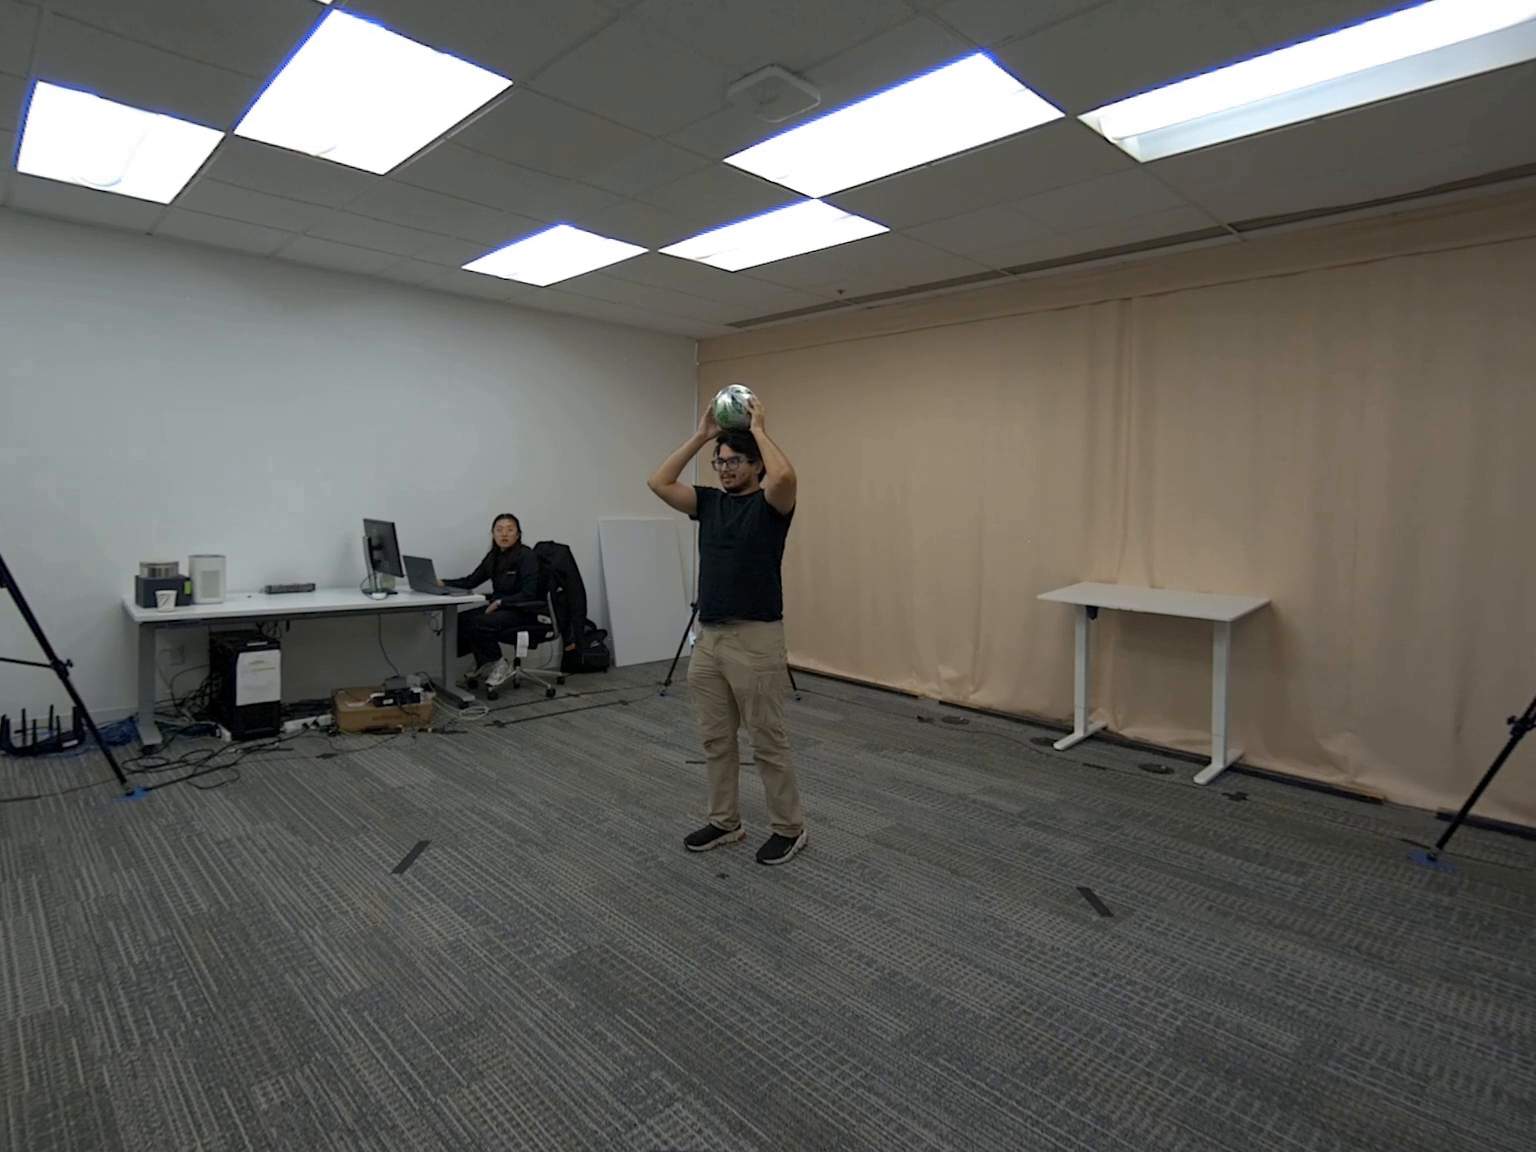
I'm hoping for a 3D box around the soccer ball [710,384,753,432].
[{"bbox_3d":[-0.130,-0.648,3.286,0.187,0.187,0.188,1,4,-1],"label":"soccer ball"}]
